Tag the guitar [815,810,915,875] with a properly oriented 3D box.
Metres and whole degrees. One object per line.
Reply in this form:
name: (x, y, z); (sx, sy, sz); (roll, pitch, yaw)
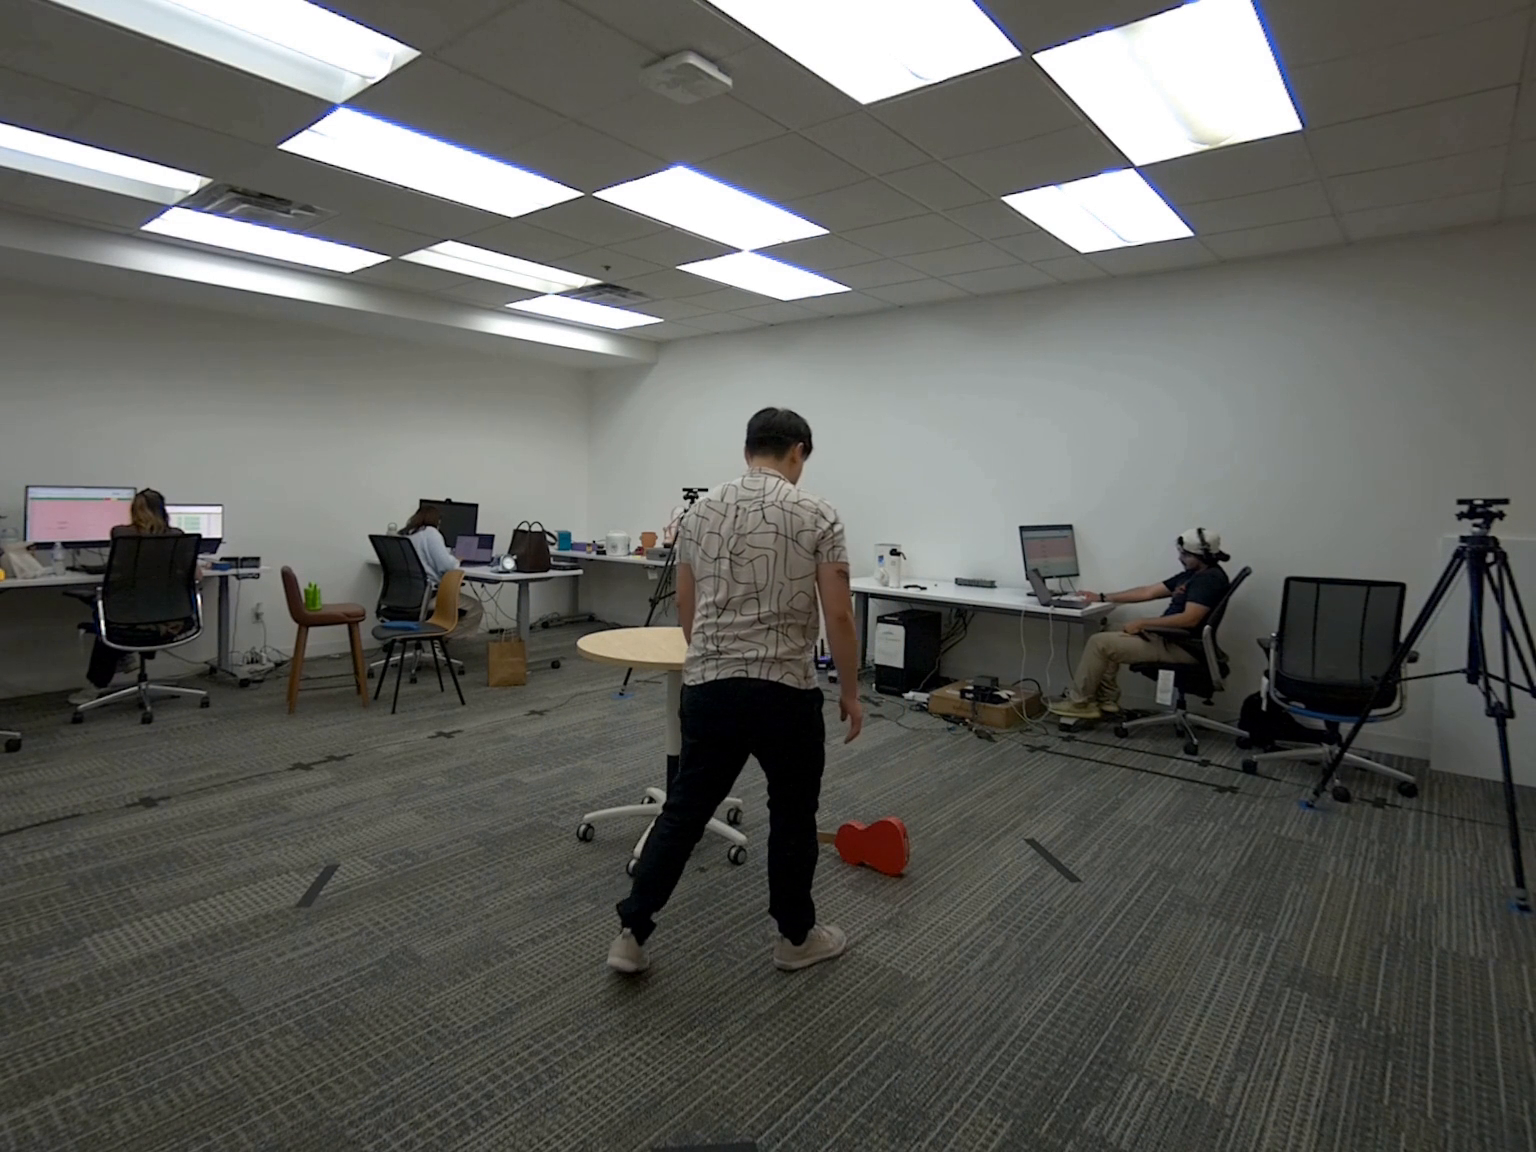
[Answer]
guitar: (0.291, 1.023, 3.214); (0.508, 0.195, 0.068); (-16, -11, 32)
